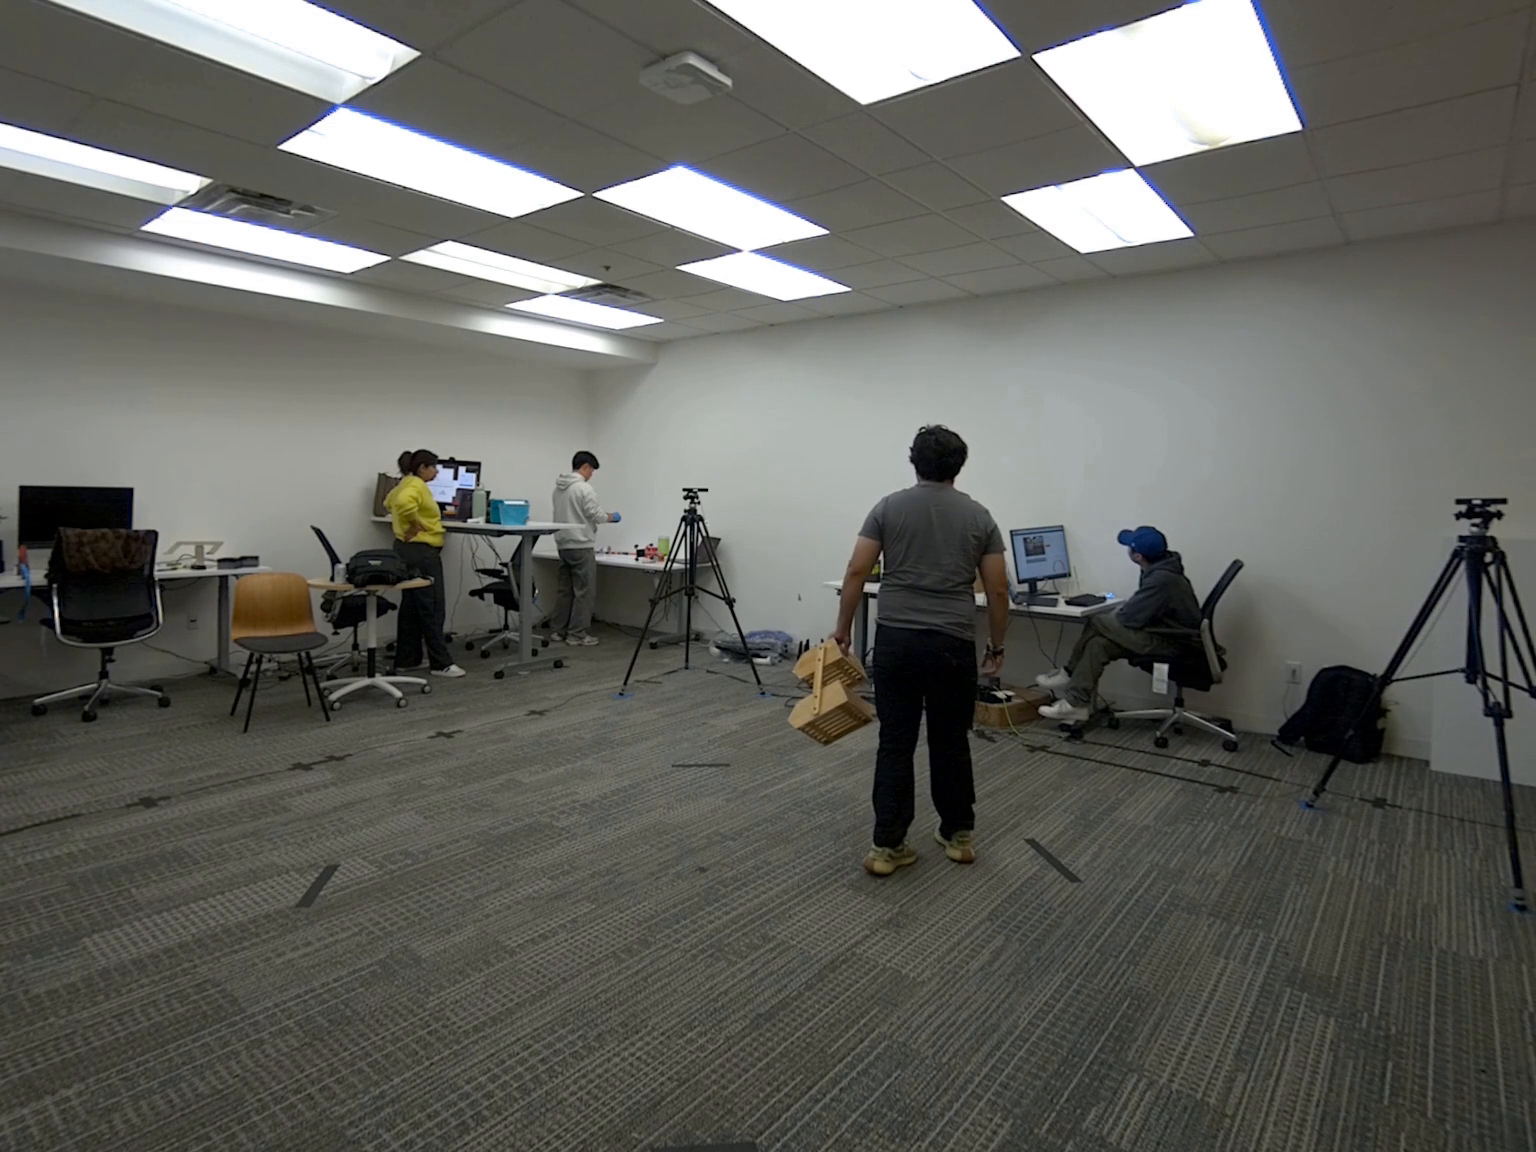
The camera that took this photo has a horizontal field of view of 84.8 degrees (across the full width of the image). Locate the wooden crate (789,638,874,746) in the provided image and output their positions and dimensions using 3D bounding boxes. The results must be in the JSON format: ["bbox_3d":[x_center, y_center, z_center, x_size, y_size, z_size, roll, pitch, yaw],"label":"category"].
[{"bbox_3d":[0.225,0.461,3.403,0.303,0.283,0.311,-31,-35,12],"label":"wooden crate"}]
